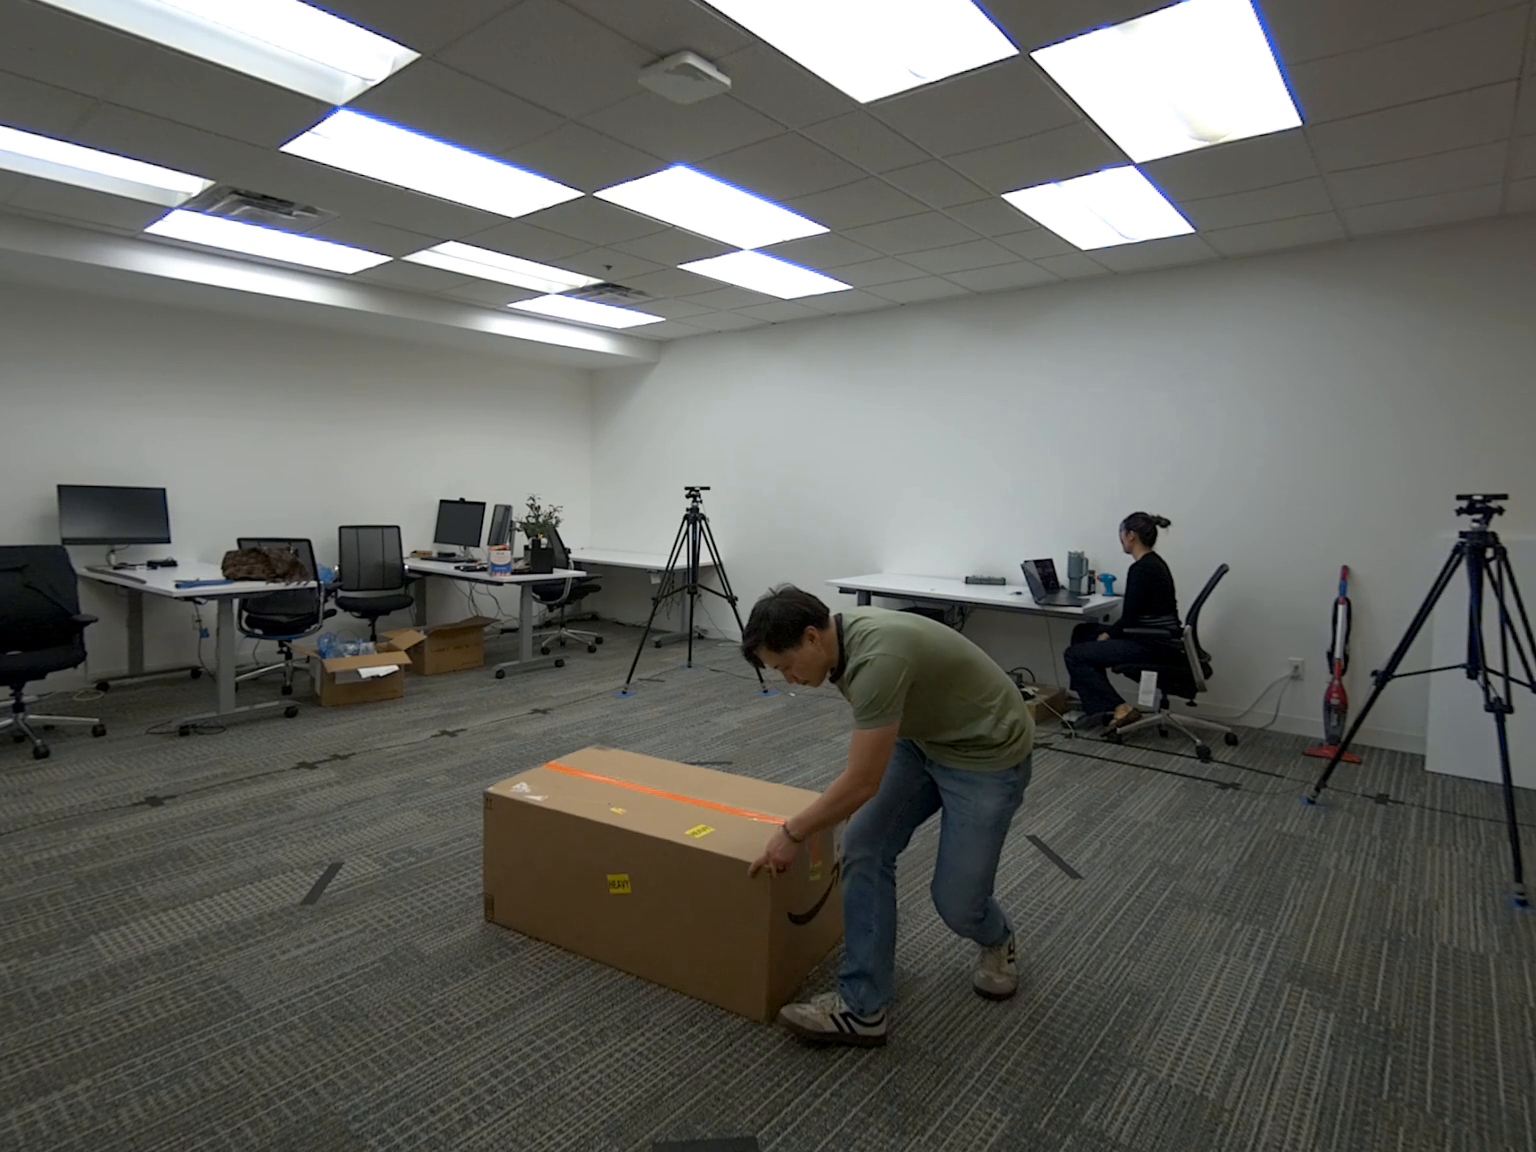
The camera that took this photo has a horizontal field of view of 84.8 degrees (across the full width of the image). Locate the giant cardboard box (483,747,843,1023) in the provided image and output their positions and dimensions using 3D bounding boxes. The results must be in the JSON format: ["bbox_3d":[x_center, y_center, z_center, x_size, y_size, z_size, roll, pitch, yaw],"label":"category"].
[{"bbox_3d":[-0.337,0.894,2.692,1.056,0.424,0.563,4,6,29],"label":"giant cardboard box"}]
